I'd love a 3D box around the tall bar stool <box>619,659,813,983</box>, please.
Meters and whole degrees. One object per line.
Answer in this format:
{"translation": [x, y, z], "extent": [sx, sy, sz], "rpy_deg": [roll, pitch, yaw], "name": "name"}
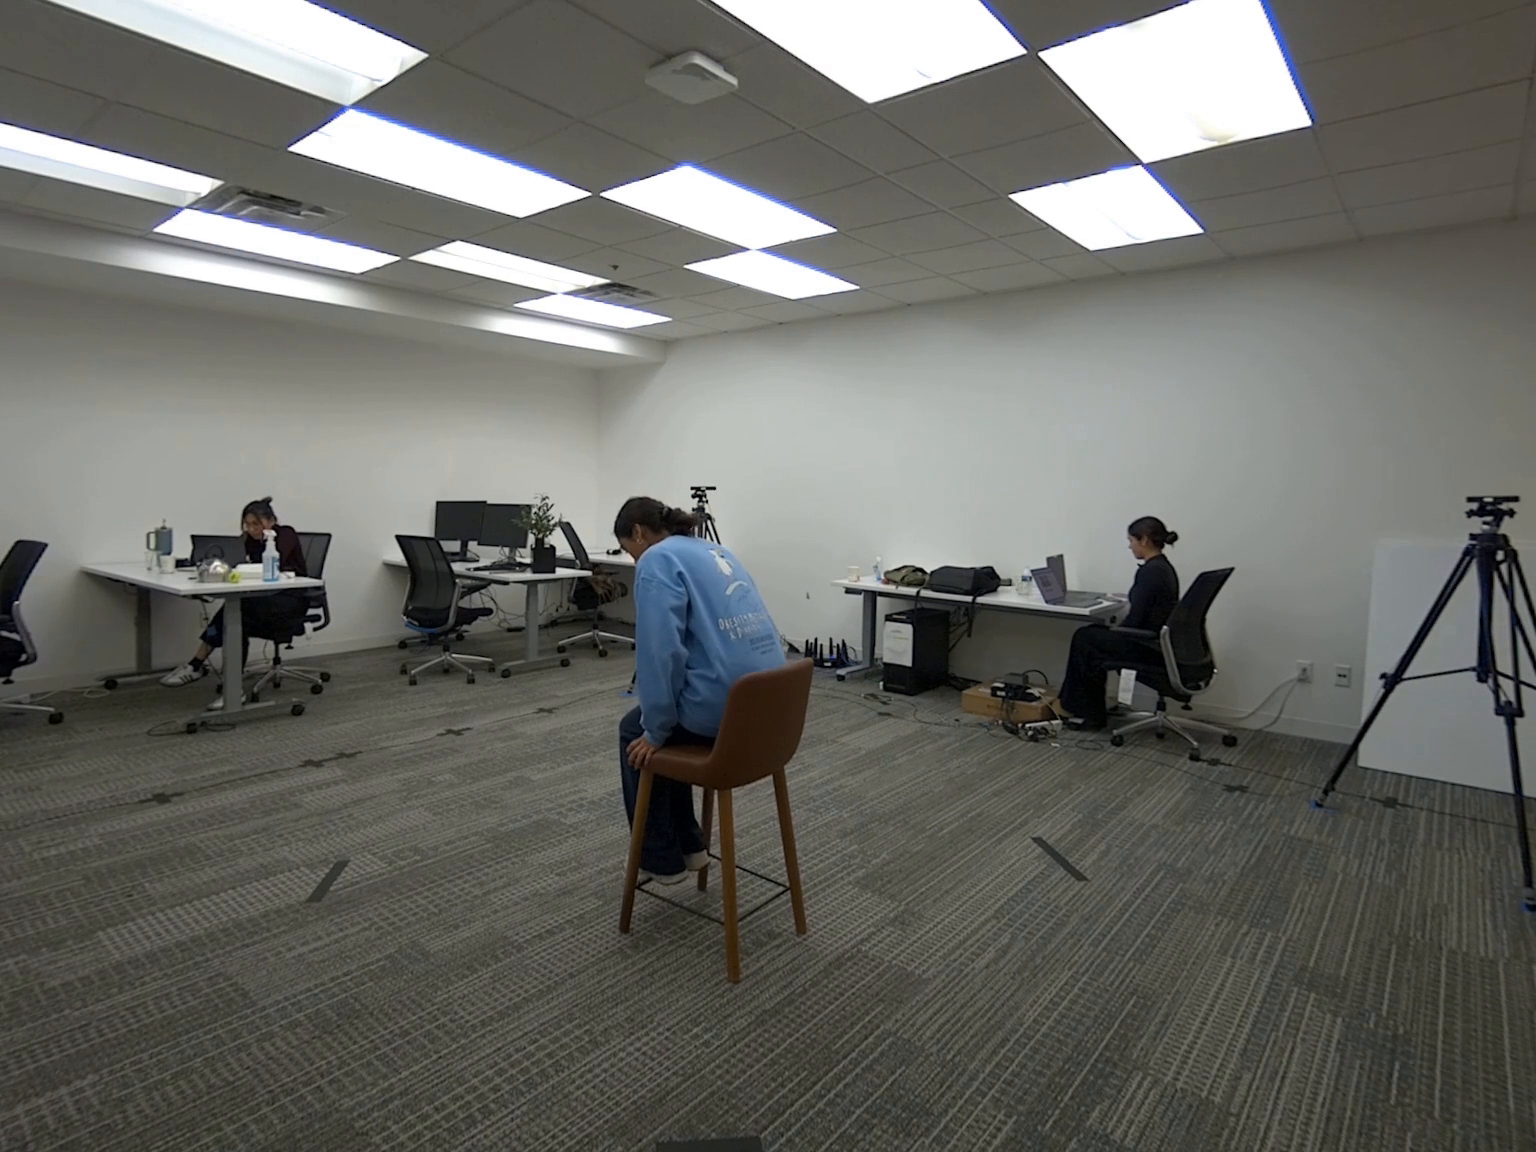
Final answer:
{"translation": [-0.157, 0.680, 2.629], "extent": [0.483, 0.886, 0.443], "rpy_deg": [6, 6, 37], "name": "tall bar stool"}
